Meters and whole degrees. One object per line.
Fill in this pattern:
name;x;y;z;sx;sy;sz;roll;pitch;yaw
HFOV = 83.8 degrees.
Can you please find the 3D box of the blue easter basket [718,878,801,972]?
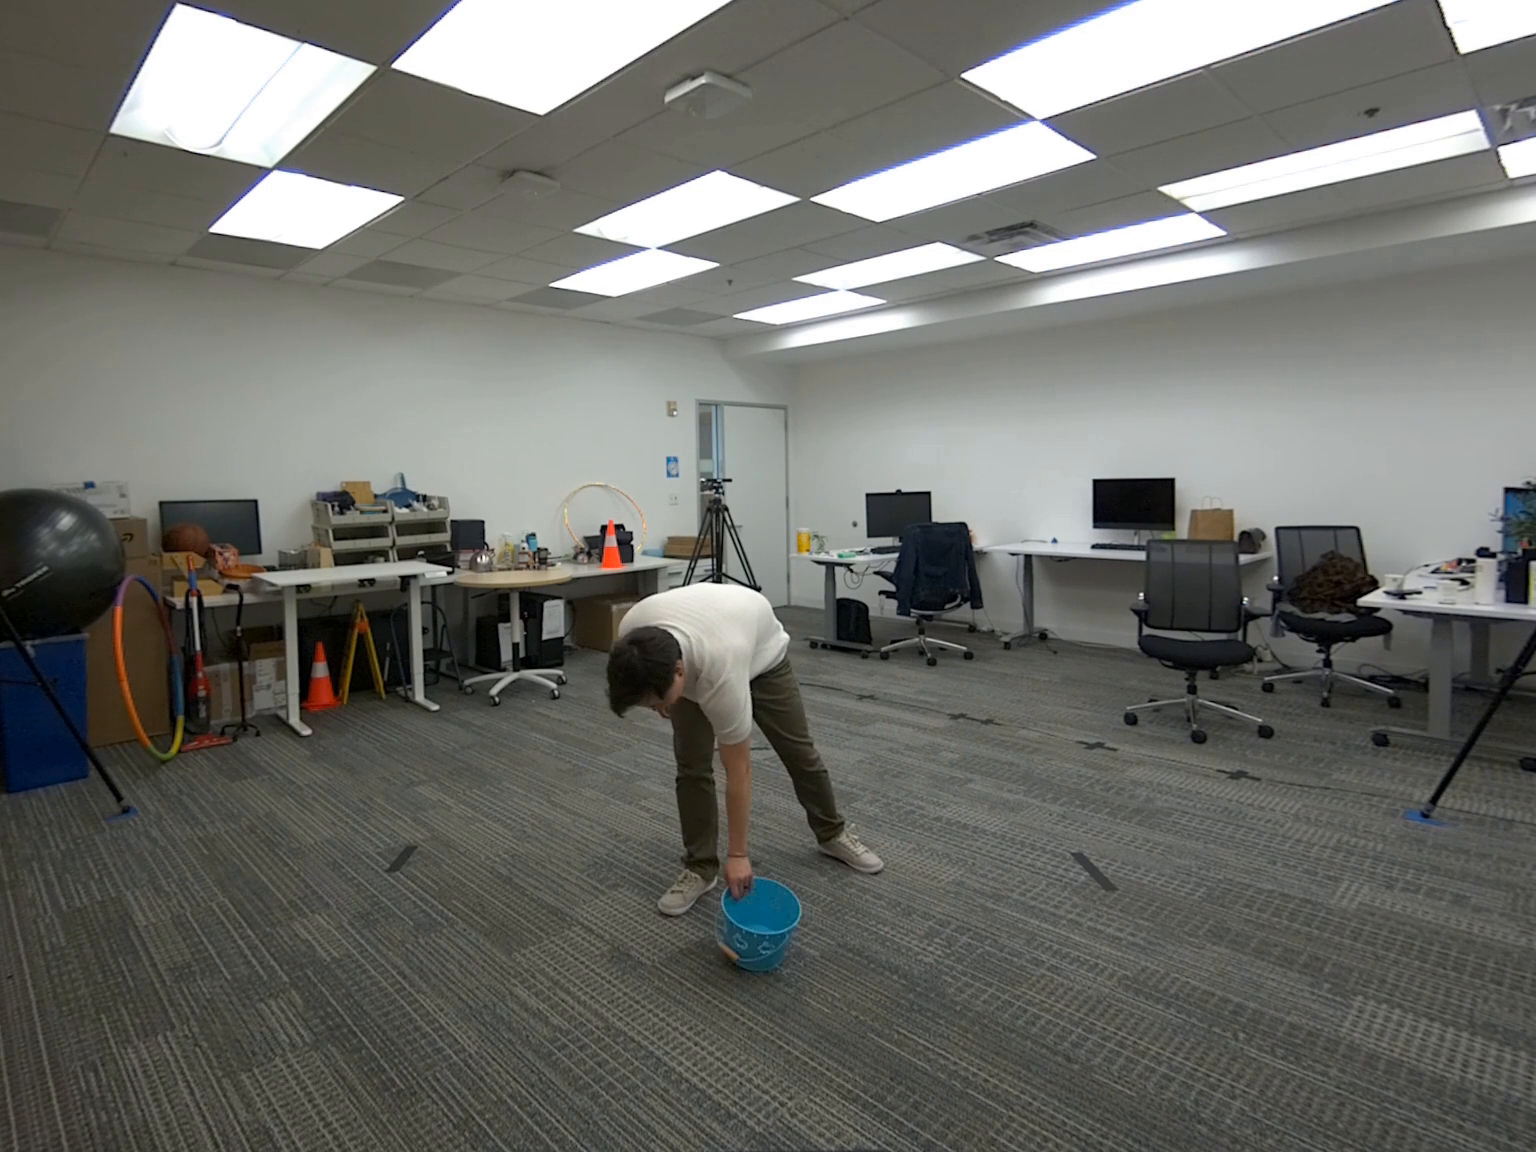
blue easter basket;-0.020;1.022;2.489;0.243;0.154;0.247;8;17;-4
